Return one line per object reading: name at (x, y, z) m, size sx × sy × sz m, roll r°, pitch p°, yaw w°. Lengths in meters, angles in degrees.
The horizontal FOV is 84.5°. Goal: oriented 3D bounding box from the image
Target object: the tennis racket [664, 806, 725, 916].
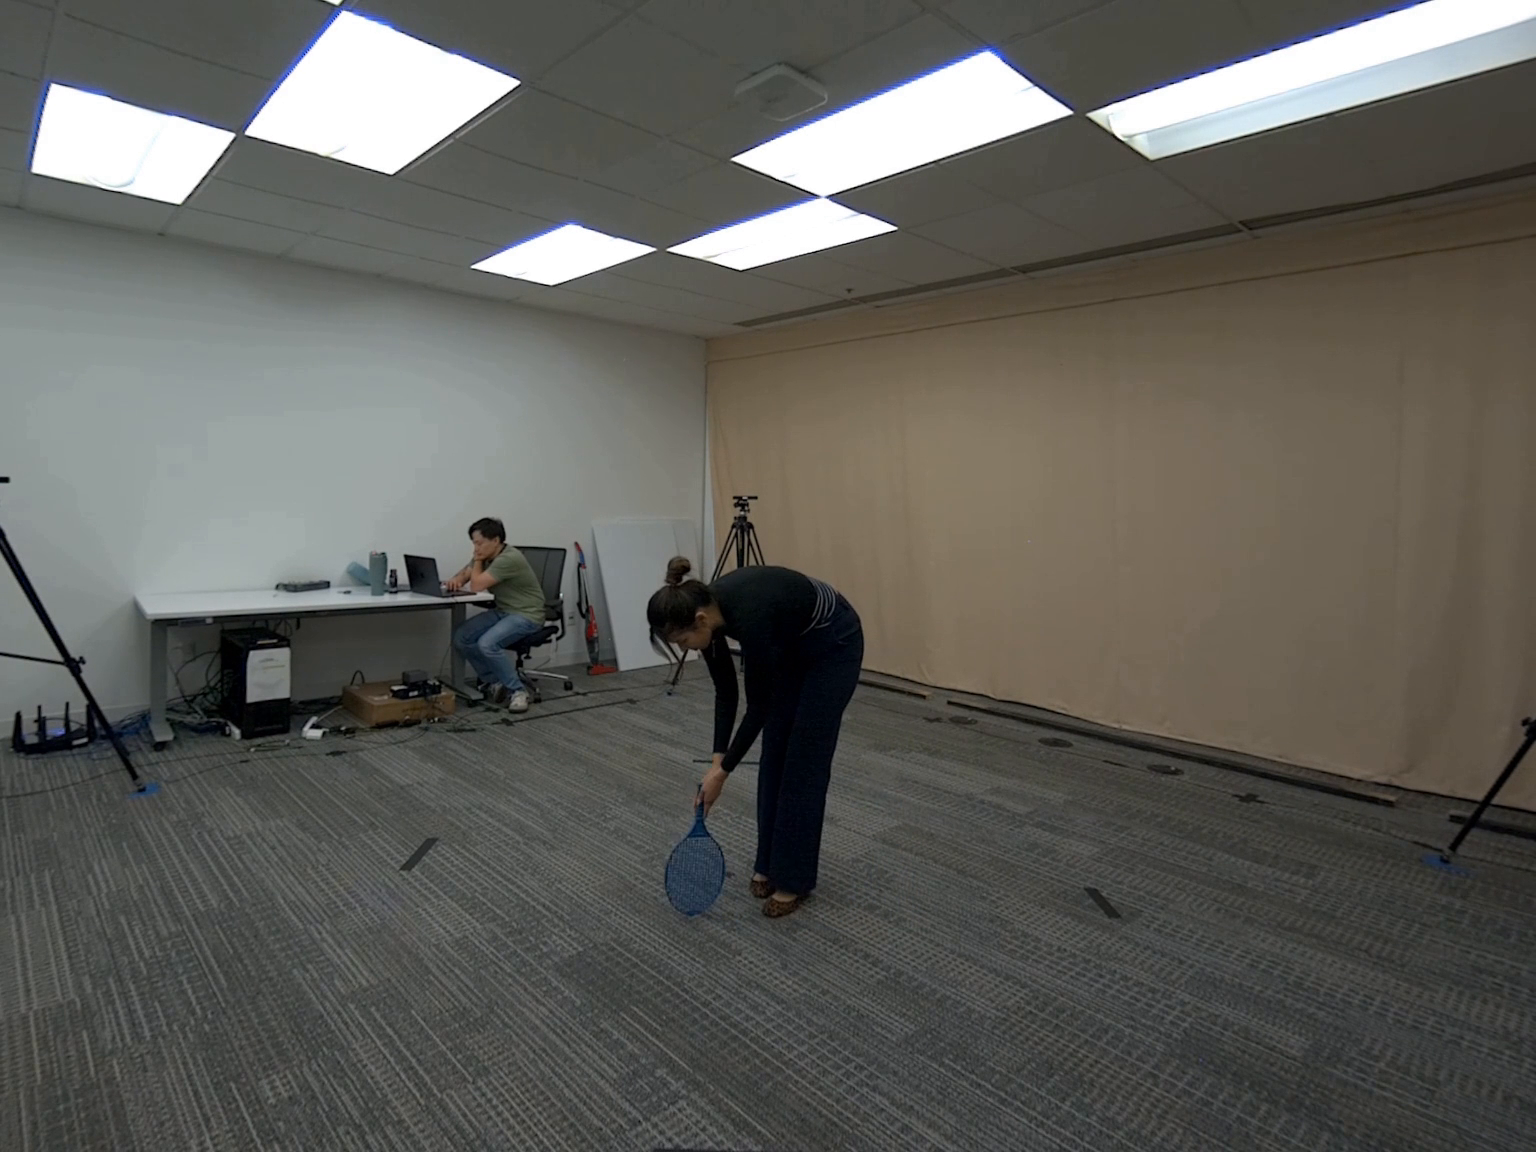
tennis racket at (-0.239, 0.913, 2.808) m, size 0.210 × 0.434 × 0.032 m, roll 9°, pitch -3°, yaw -19°
